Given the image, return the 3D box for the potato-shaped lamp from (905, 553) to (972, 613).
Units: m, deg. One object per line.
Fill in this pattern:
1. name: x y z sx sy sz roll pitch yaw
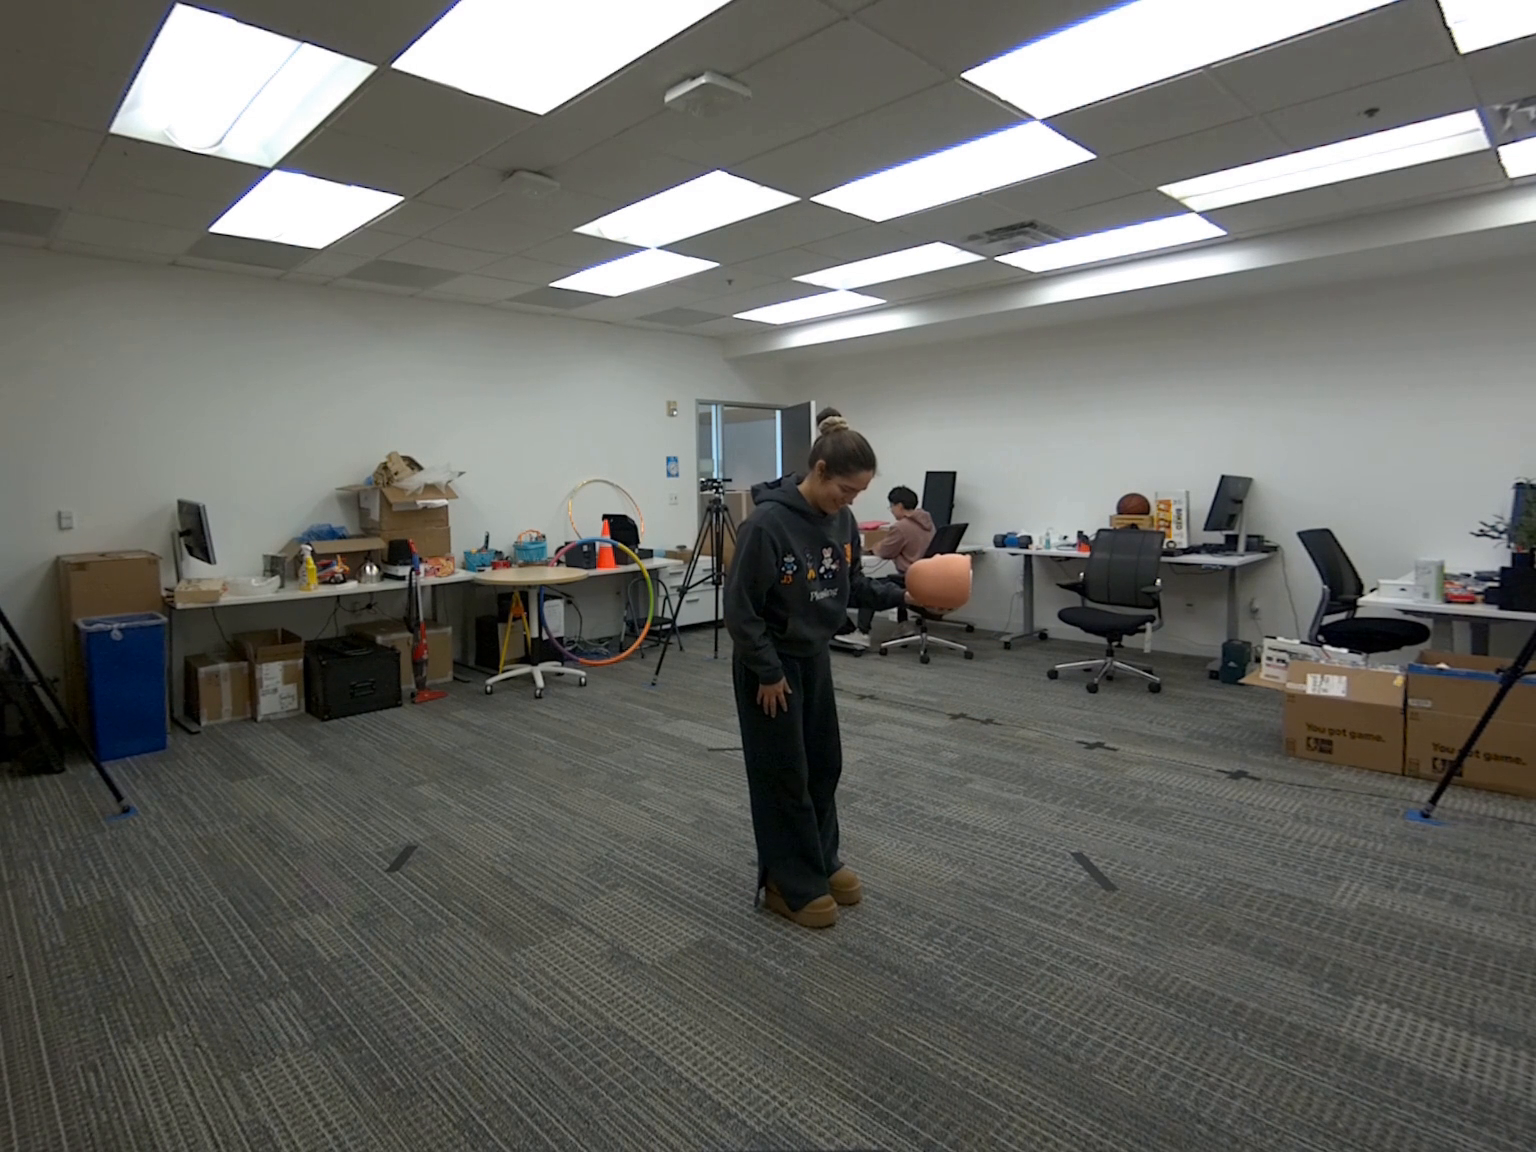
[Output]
1. potato-shaped lamp: 0.522 0.014 2.640 0.201 0.160 0.174 5 44 13
